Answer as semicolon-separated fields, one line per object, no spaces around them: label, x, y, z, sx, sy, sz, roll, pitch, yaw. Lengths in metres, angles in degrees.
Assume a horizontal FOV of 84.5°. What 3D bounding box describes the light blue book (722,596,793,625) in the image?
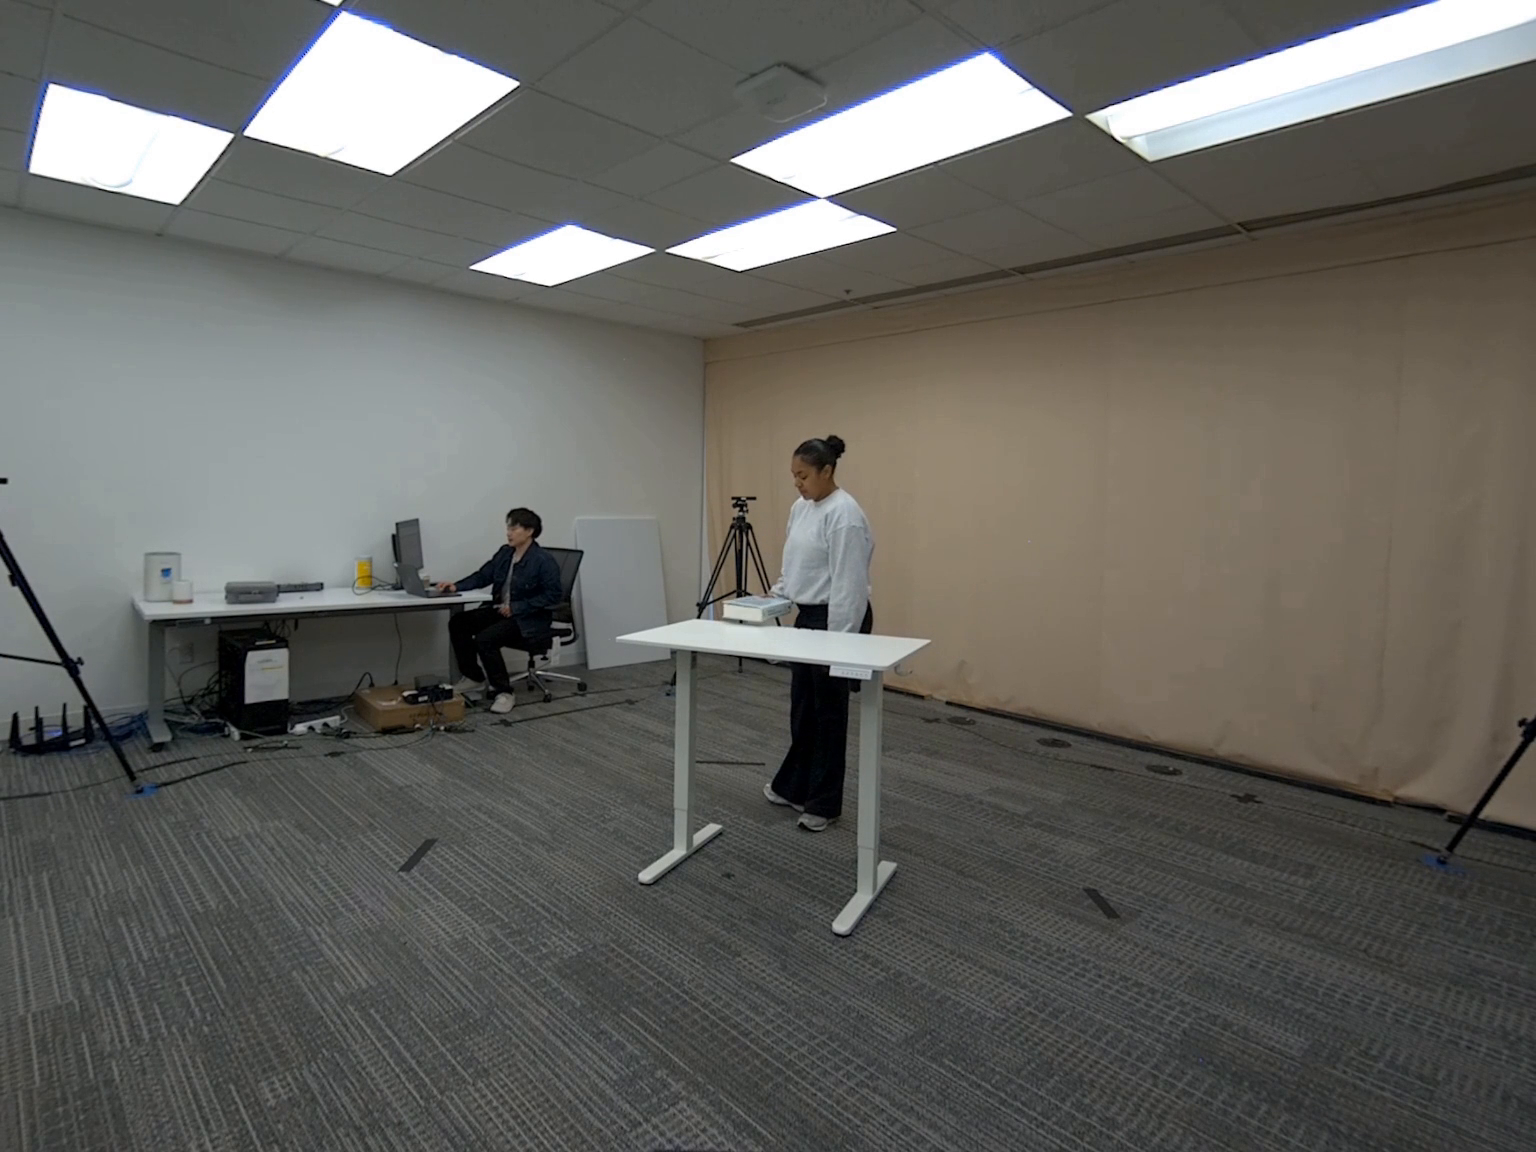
light blue book;-0.056;0.137;3.514;0.195;0.059;0.257;5;8;25
